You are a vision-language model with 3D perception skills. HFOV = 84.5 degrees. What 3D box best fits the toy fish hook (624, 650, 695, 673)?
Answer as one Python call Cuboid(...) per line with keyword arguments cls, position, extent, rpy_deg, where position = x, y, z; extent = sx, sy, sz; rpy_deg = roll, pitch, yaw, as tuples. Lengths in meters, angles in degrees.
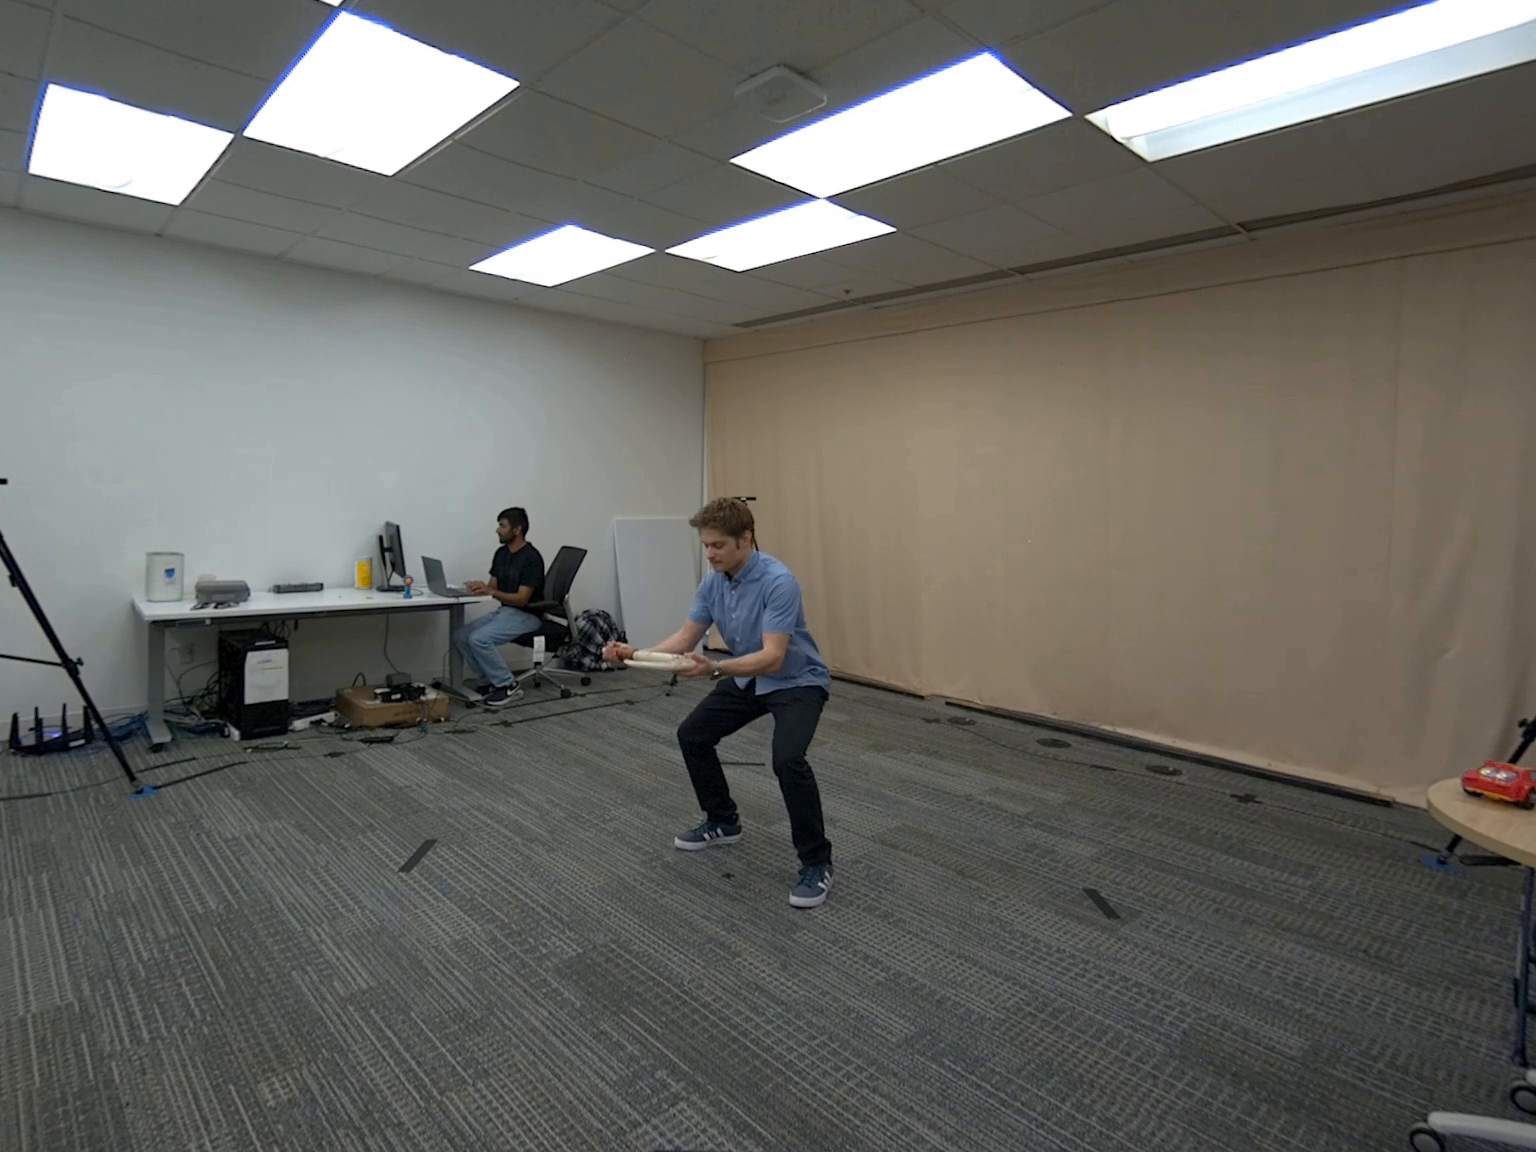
Cuboid(cls="toy fish hook", position=(-0.456, 0.282, 2.884), extent=(0.519, 0.048, 0.218), rpy_deg=(3, -3, 43))
